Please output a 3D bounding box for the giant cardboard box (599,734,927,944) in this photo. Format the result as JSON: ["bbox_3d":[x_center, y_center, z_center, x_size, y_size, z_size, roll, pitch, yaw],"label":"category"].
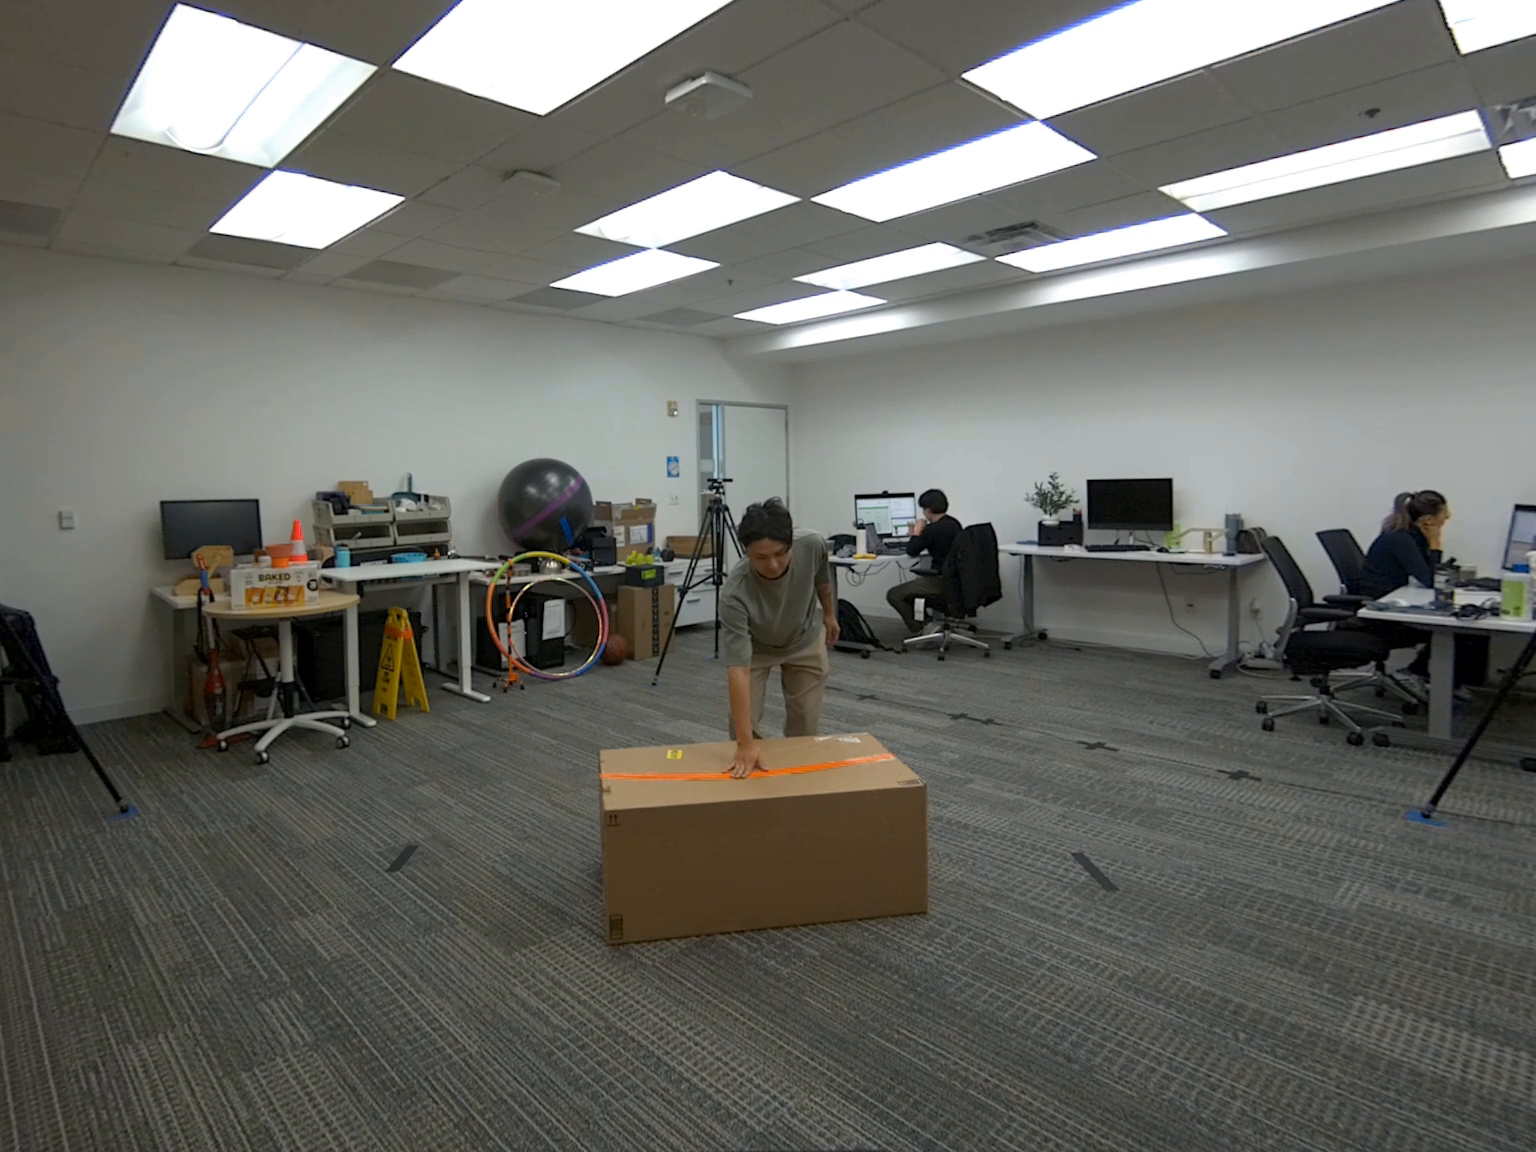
[{"bbox_3d":[-0.050,0.853,2.912,1.016,0.425,0.585,-2,5,-10],"label":"giant cardboard box"}]
